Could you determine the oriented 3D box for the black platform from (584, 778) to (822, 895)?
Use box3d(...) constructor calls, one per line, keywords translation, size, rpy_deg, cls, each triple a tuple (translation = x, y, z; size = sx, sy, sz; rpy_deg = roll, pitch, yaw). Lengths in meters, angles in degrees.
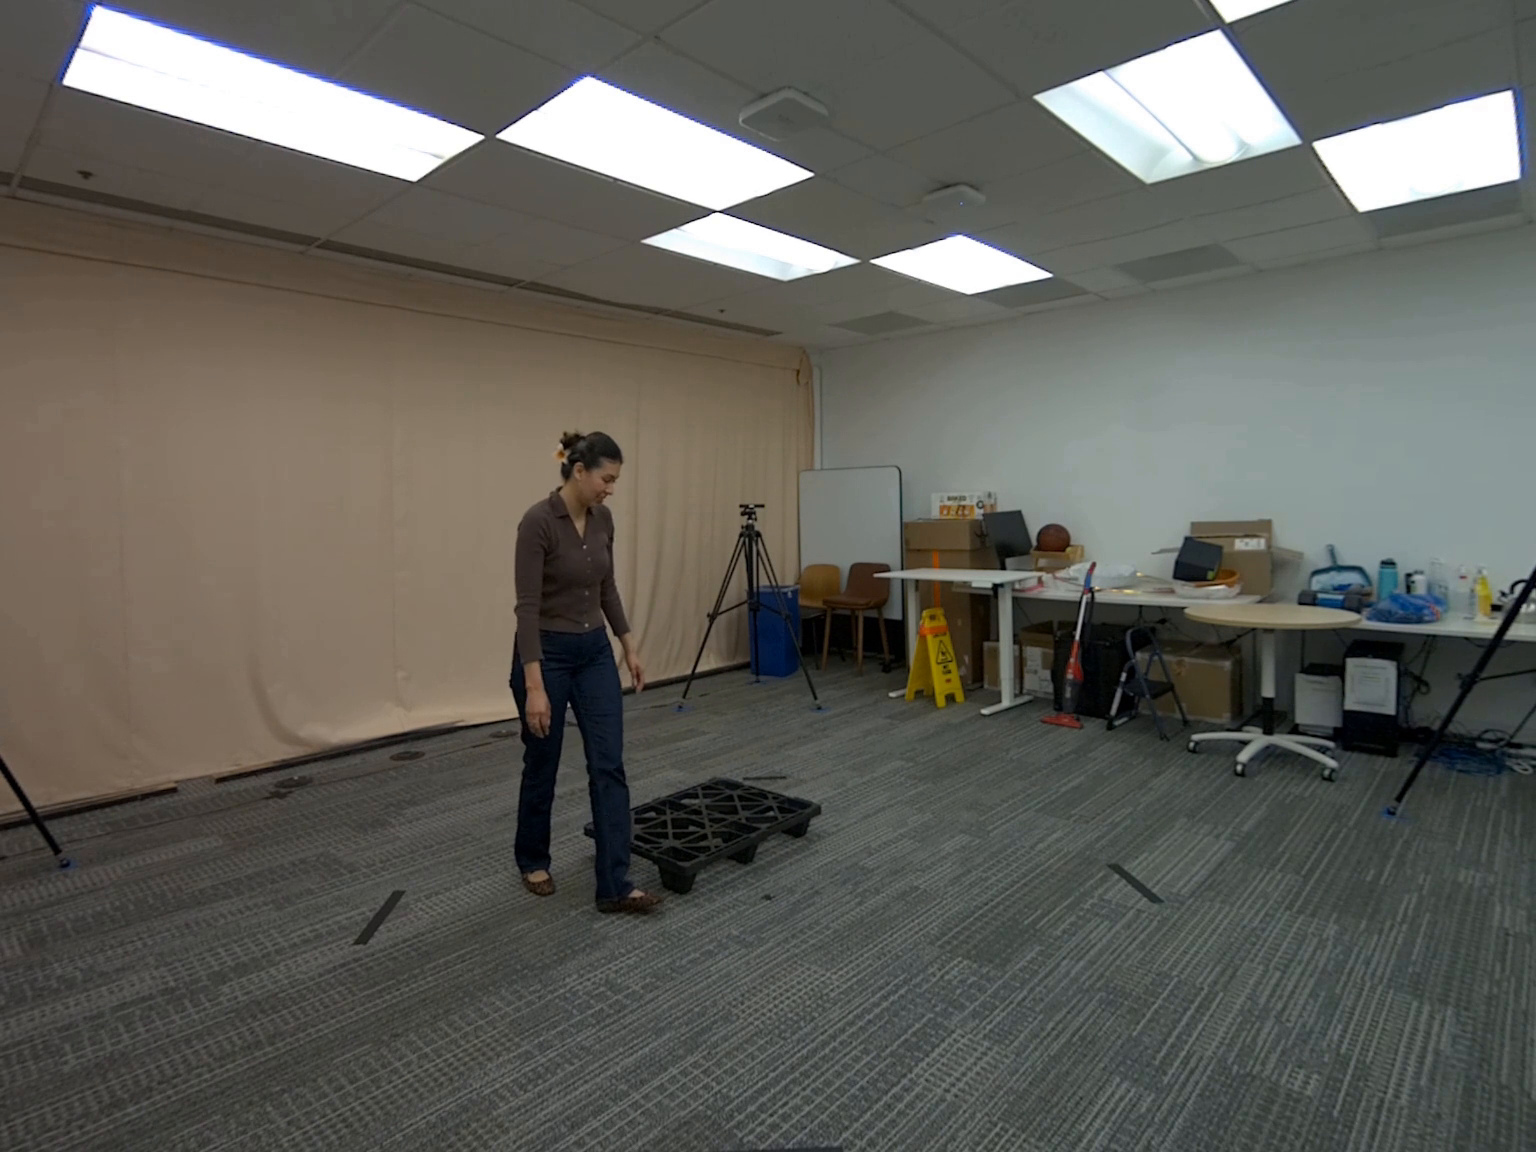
box3d(translation=(-0.244, 1.041, 3.428), size=(0.625, 0.143, 0.782), rpy_deg=(4, 7, 42), cls="black platform")
